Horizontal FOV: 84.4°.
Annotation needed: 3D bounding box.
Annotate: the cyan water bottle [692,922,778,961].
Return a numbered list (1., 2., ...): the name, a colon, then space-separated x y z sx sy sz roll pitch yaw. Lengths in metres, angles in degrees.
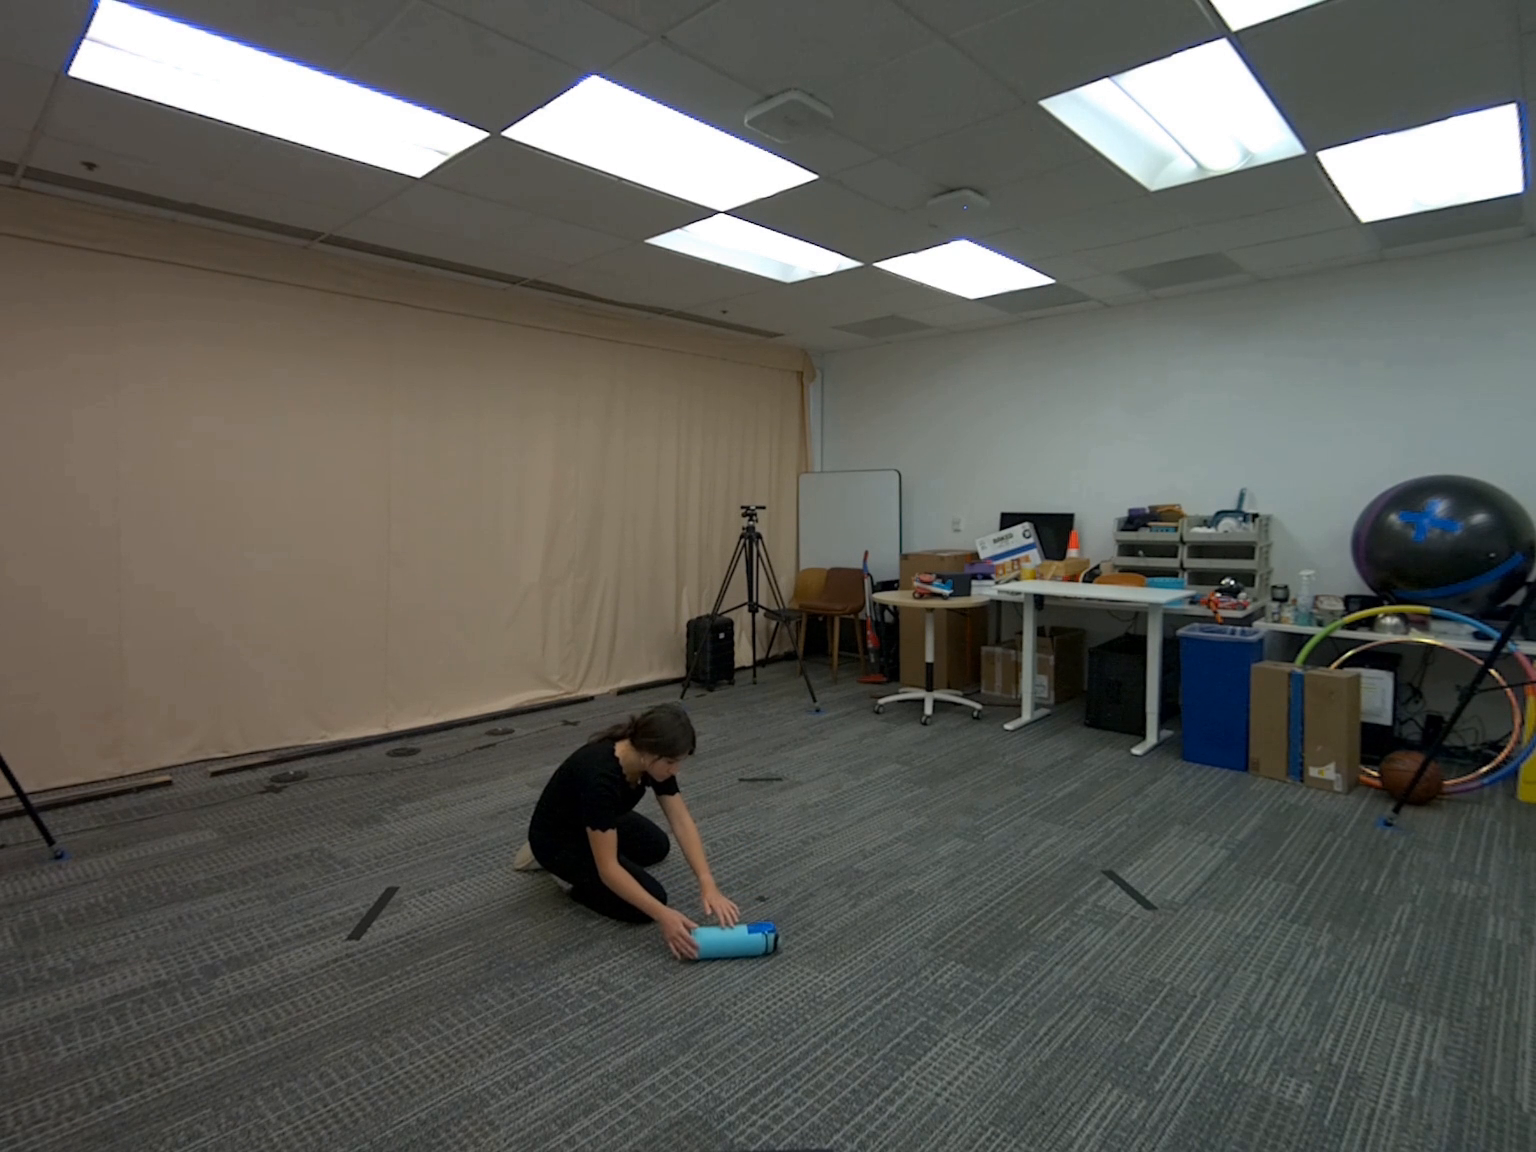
1. cyan water bottle: -0.099 1.134 2.605 0.281 0.092 0.093 0 4 -7
